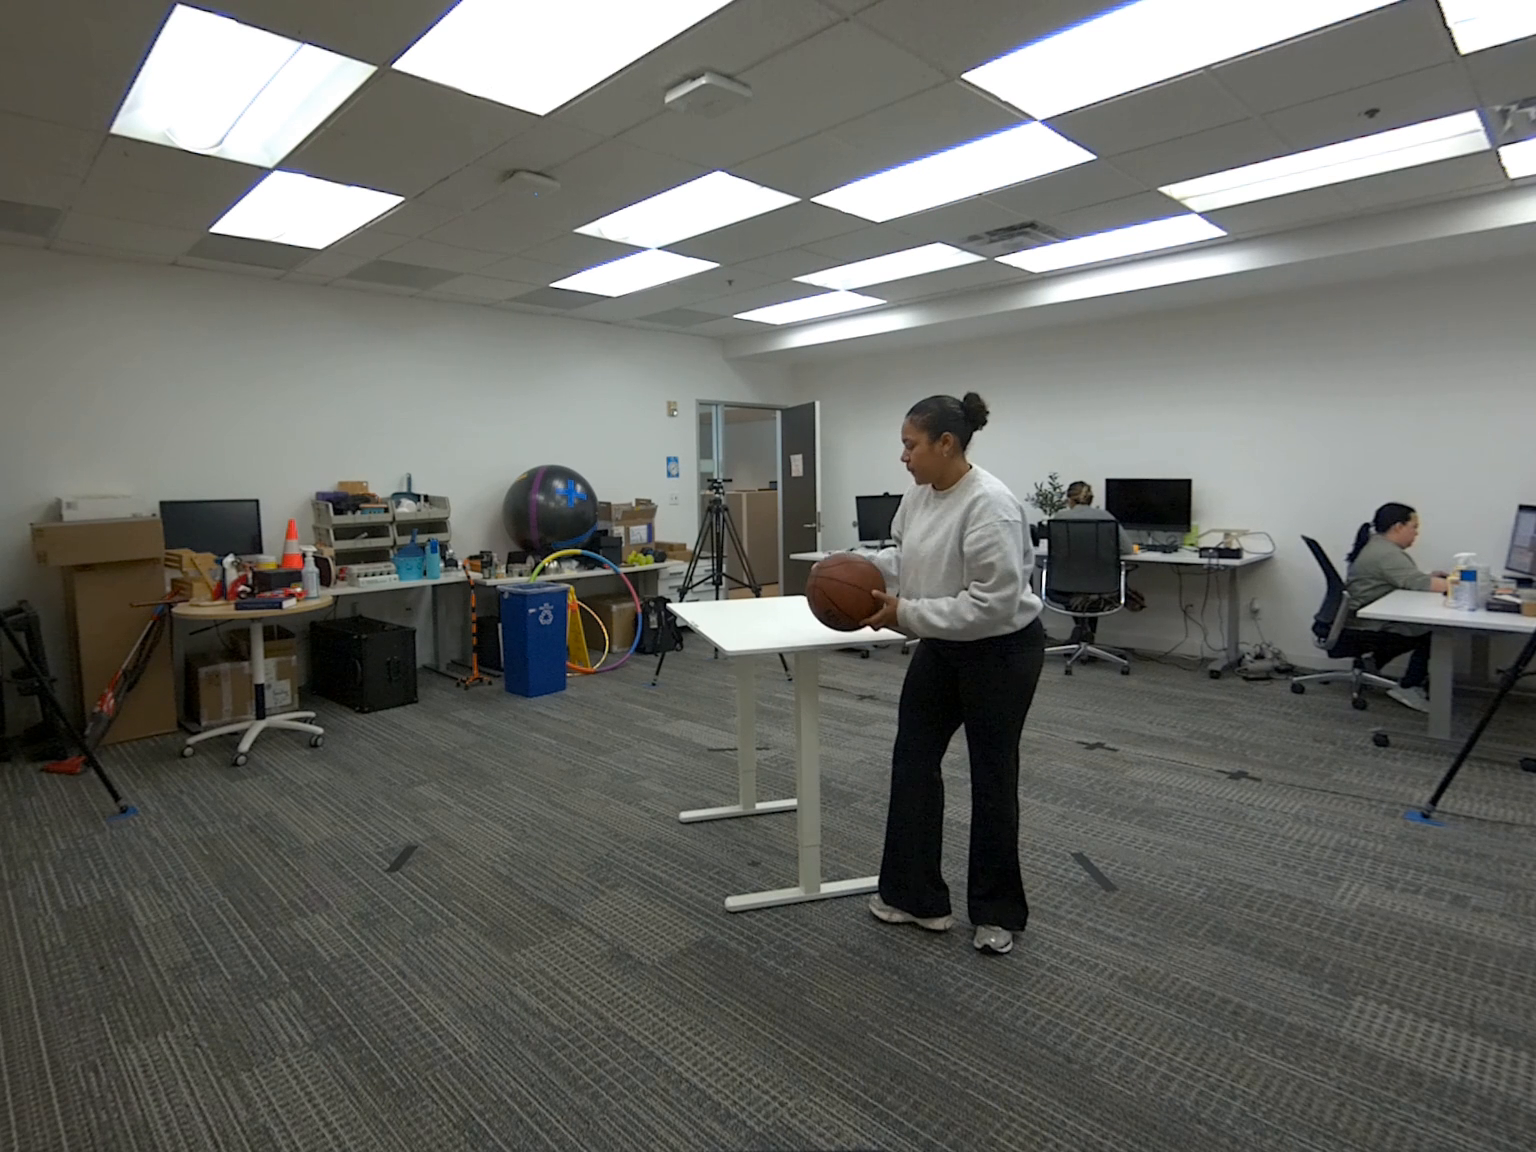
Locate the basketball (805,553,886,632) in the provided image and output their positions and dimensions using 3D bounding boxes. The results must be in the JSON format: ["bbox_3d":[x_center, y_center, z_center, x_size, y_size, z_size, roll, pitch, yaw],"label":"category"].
[{"bbox_3d":[0.242,0.060,2.568,0.236,0.235,0.237,-1,5,-2],"label":"basketball"}]
